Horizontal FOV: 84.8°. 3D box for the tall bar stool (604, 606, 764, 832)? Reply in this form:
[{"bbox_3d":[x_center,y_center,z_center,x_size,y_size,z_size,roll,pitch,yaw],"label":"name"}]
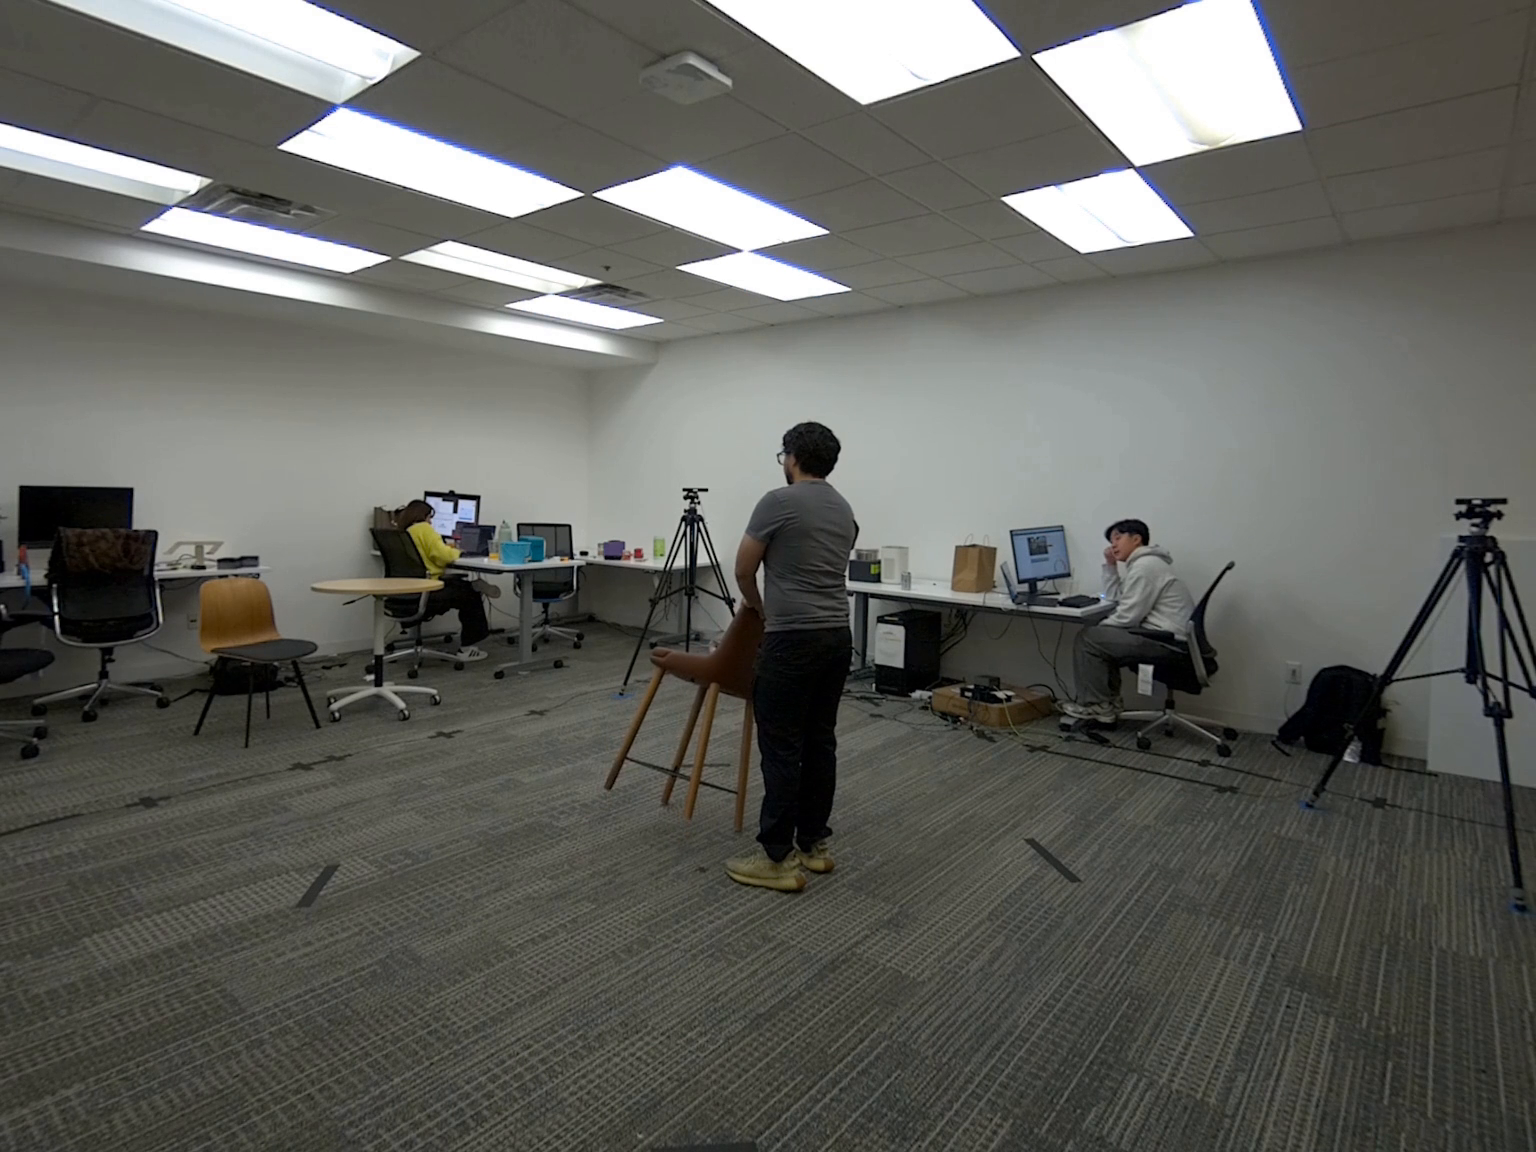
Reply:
[{"bbox_3d":[-0.278,0.549,3.587,0.484,0.897,0.437,7,-17,38],"label":"tall bar stool"}]
